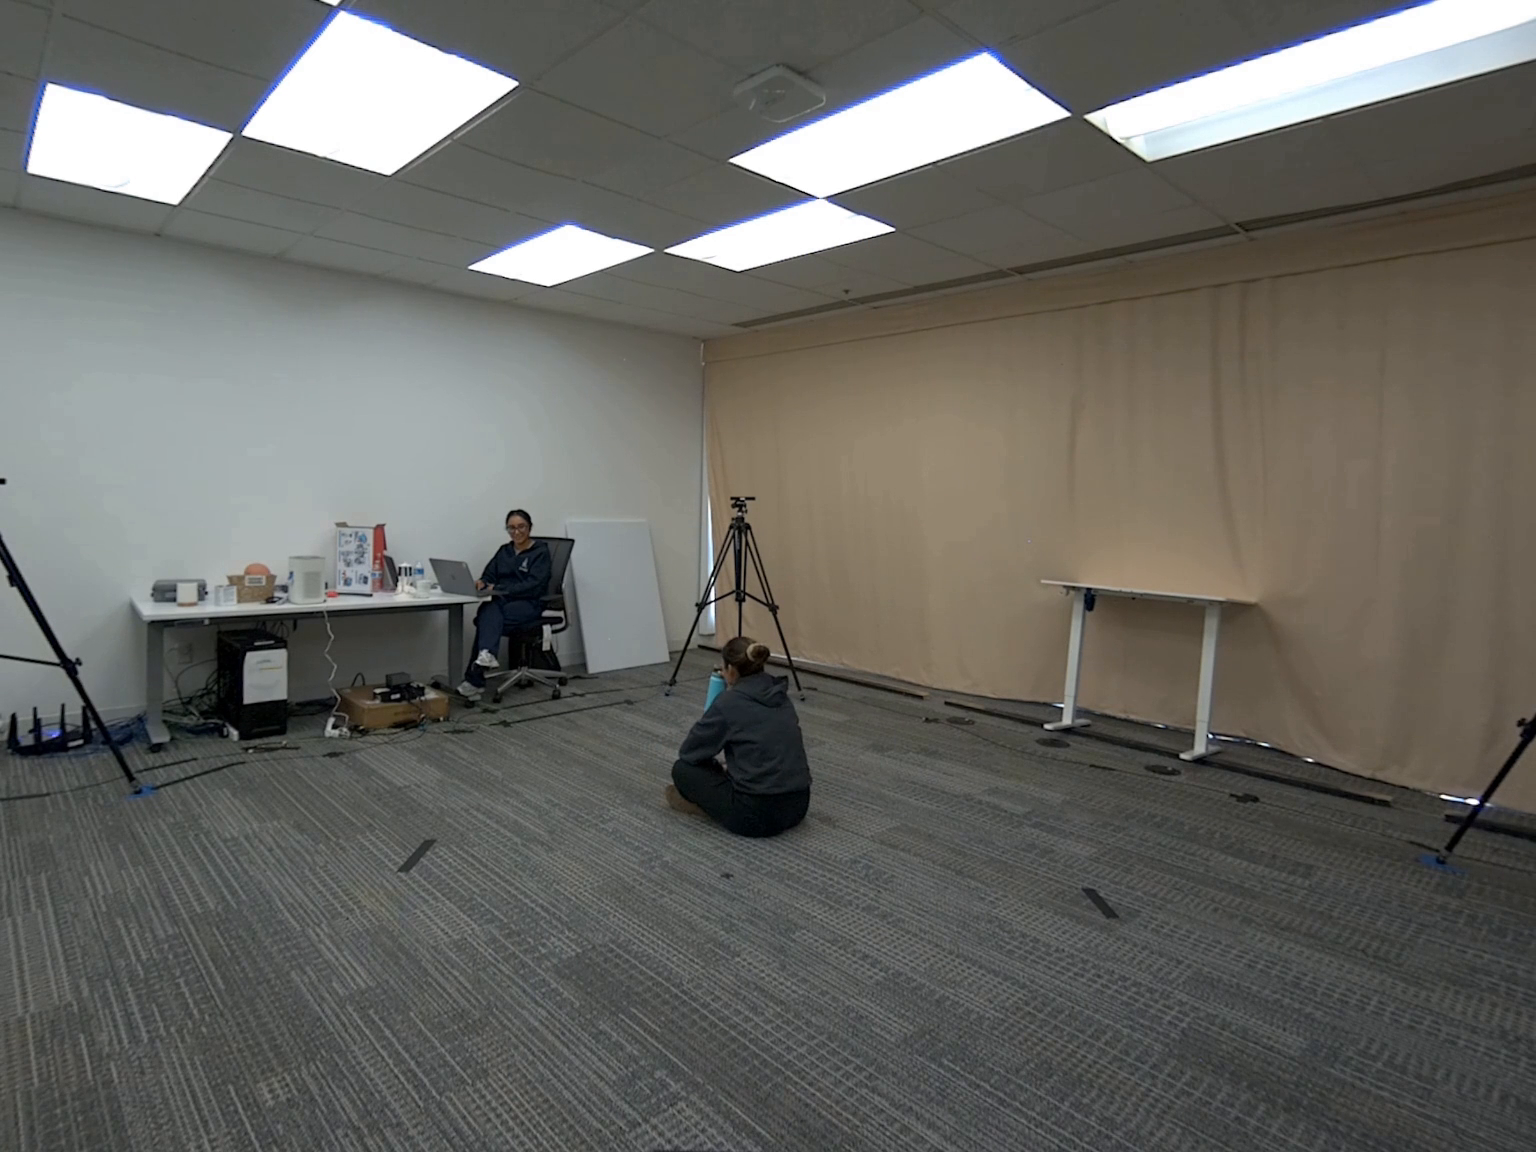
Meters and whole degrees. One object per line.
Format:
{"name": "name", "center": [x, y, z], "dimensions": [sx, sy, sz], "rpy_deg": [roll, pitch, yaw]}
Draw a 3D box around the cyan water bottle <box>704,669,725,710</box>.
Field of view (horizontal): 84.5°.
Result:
{"name": "cyan water bottle", "center": [-0.253, 0.559, 4.059], "dimensions": [0.092, 0.283, 0.092], "rpy_deg": [5, 0, -1]}
